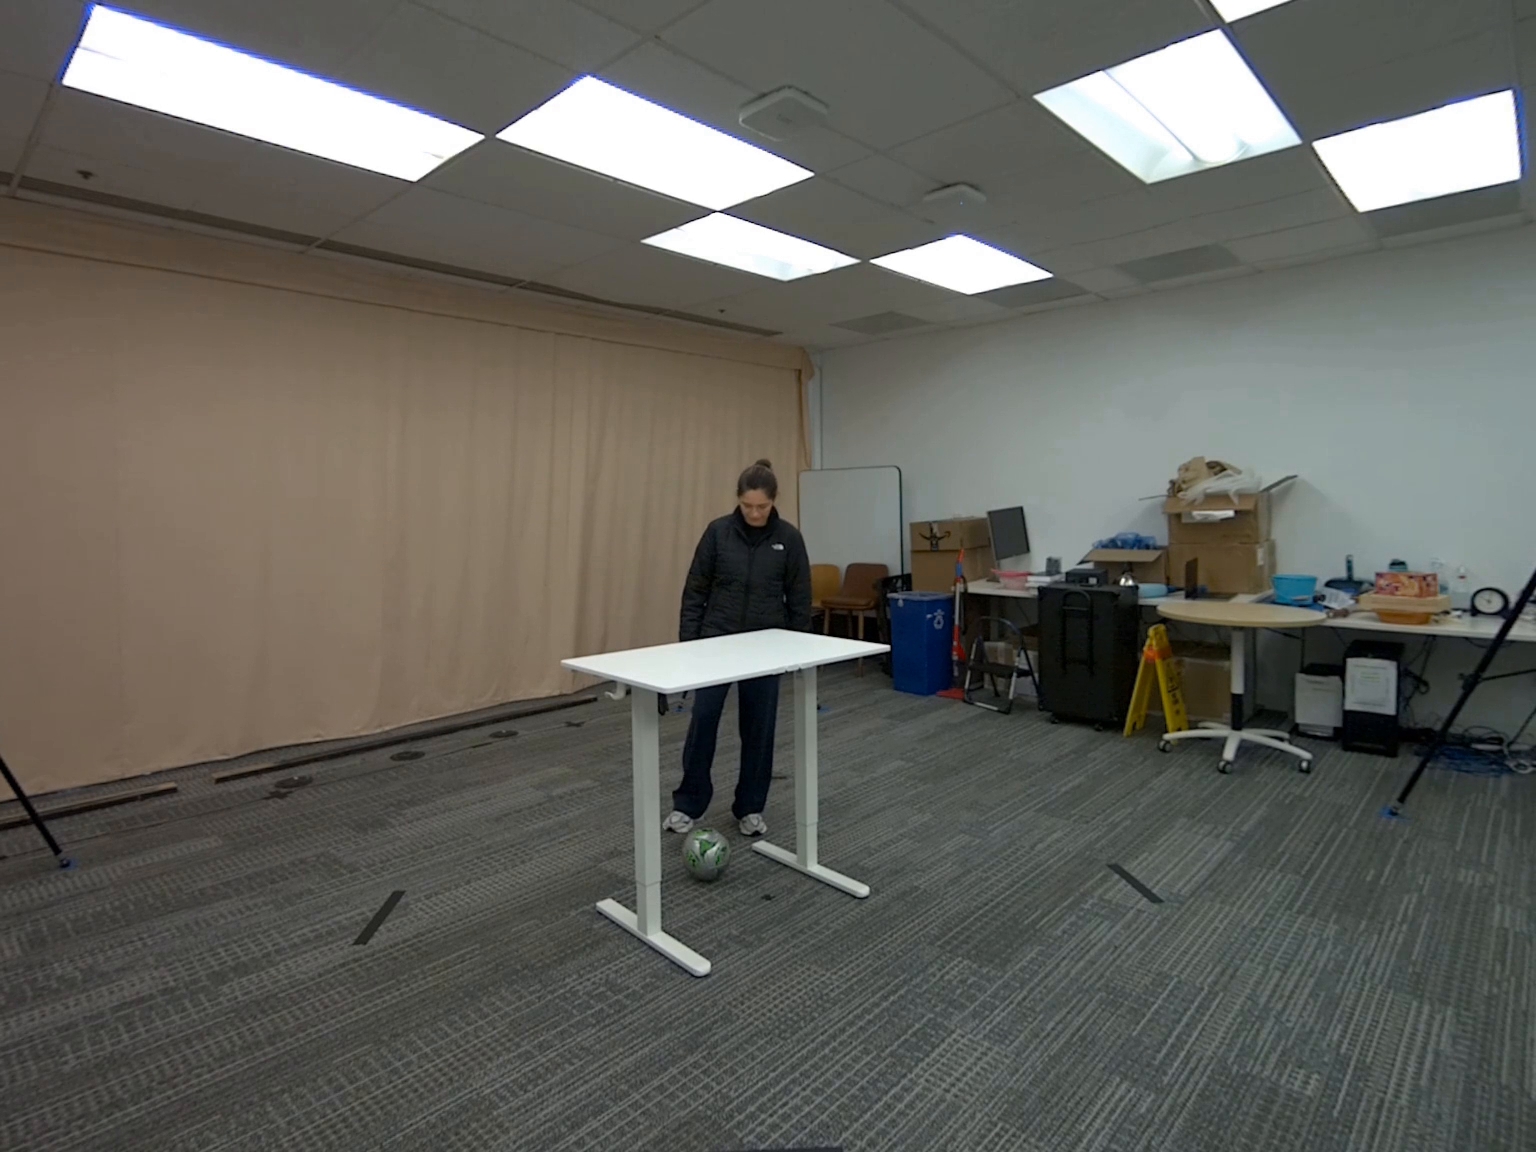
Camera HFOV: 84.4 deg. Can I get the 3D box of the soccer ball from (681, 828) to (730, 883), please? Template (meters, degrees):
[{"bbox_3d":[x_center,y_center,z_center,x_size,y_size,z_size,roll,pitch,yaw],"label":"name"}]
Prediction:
[{"bbox_3d":[-0.220,1.036,3.142,0.187,0.187,0.188,-1,4,-2],"label":"soccer ball"}]
